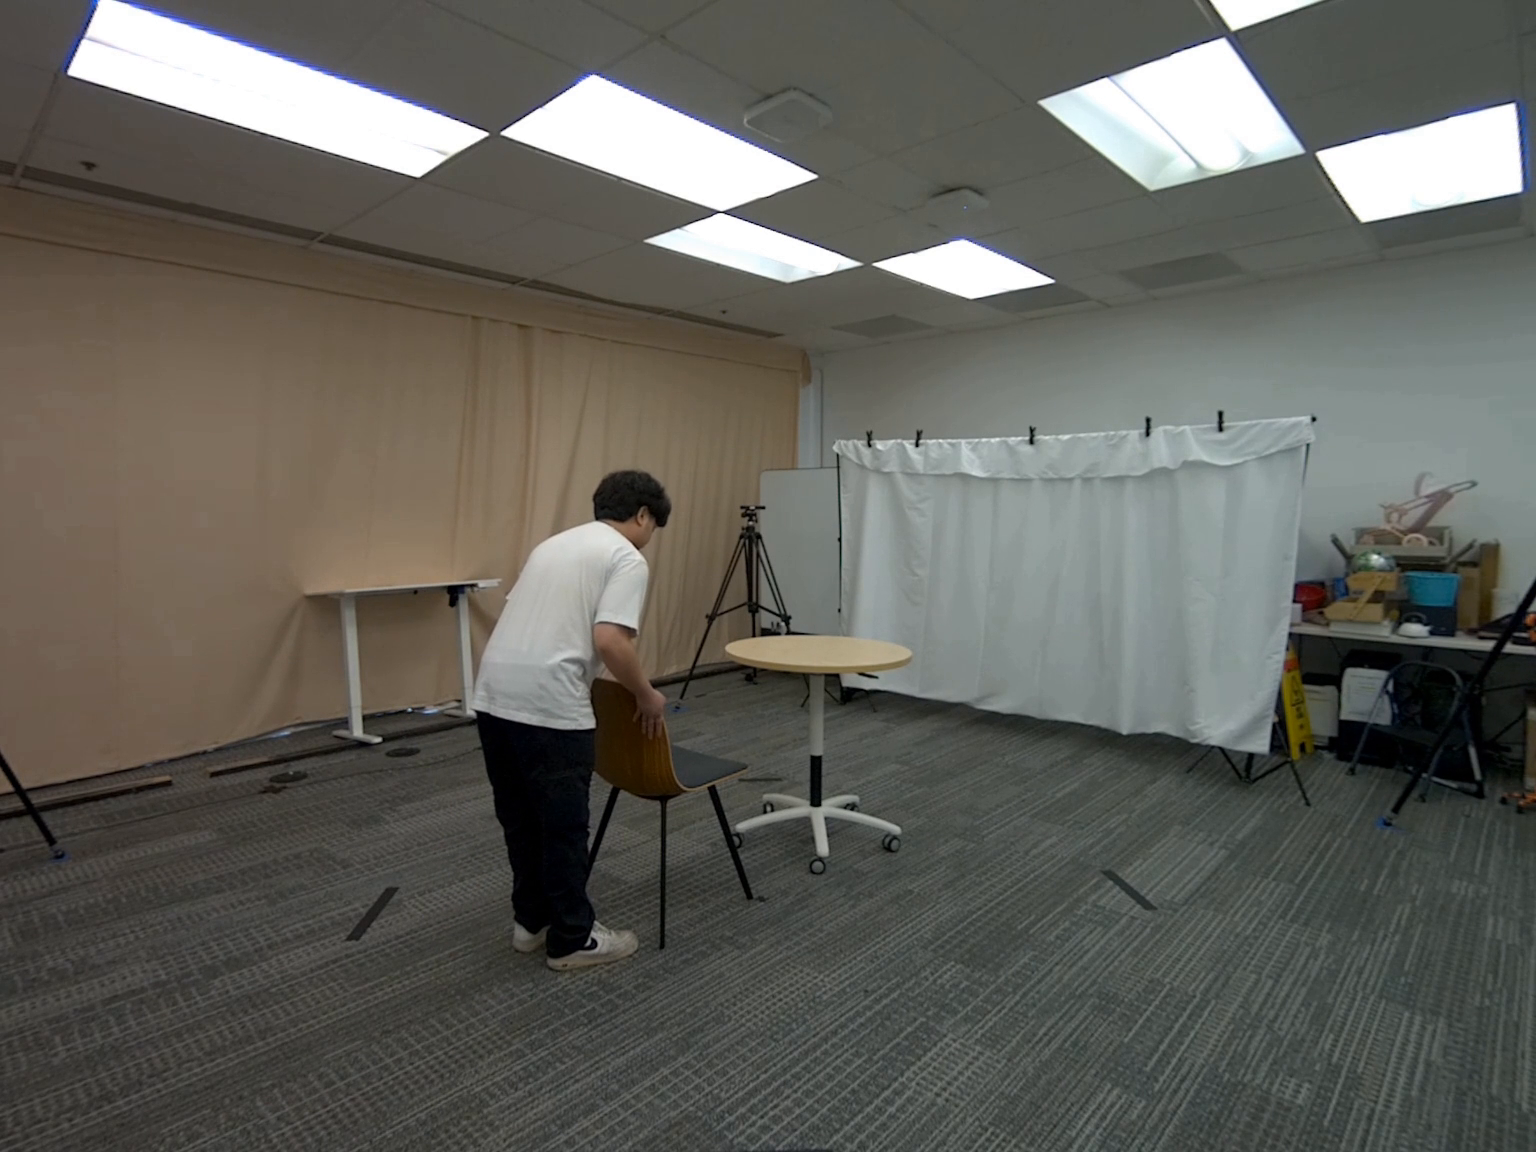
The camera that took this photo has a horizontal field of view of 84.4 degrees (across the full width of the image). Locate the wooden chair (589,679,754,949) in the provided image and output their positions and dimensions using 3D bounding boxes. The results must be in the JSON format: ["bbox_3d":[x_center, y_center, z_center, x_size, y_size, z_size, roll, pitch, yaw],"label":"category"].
[{"bbox_3d":[-0.360,0.722,2.940,0.494,0.873,0.508,2,8,40],"label":"wooden chair"}]
